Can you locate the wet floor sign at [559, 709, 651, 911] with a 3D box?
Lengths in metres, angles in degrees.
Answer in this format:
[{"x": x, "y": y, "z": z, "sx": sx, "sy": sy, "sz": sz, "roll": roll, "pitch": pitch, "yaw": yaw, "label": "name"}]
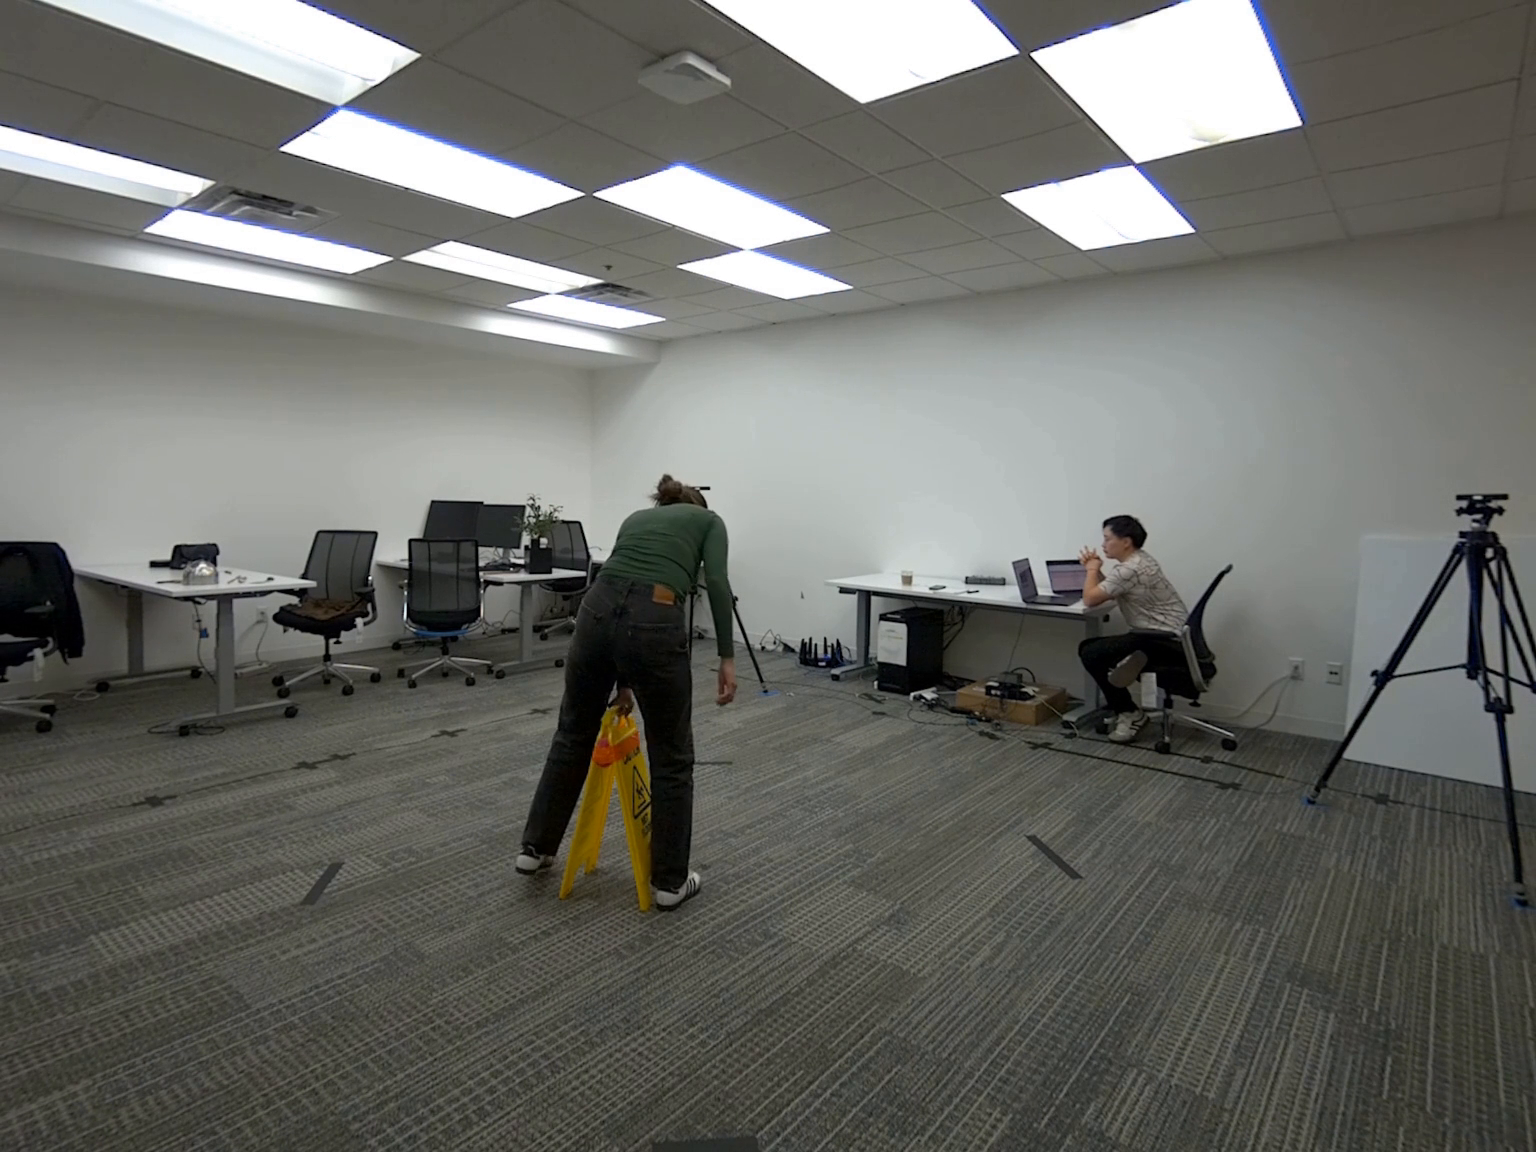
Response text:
[{"x": -0.527, "y": 0.753, "z": 2.928, "sx": 0.294, "sy": 0.644, "sz": 0.279, "roll": 3, "pitch": 3, "yaw": 13, "label": "wet floor sign"}]
